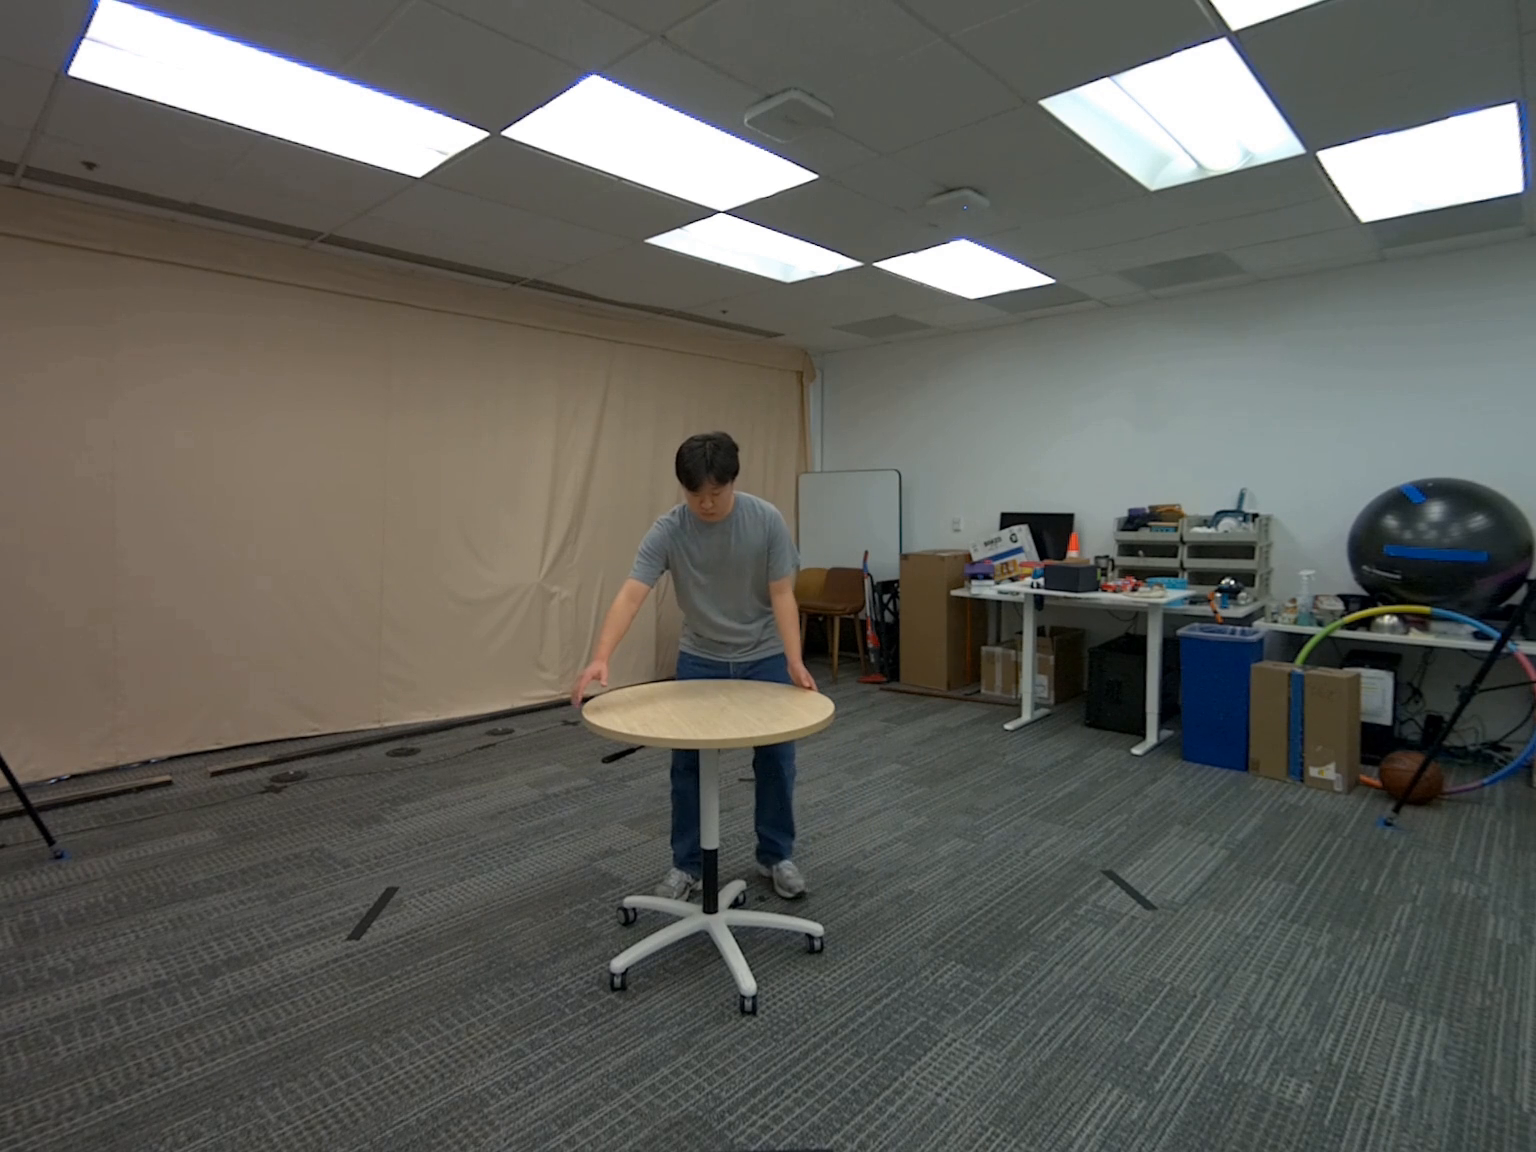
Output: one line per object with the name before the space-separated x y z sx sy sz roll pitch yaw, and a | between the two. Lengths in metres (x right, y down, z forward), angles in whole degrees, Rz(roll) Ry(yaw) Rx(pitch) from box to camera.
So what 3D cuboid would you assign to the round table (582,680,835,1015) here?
round table | -0.176 0.786 2.588 0.763 0.792 0.766 -1 4 -2
